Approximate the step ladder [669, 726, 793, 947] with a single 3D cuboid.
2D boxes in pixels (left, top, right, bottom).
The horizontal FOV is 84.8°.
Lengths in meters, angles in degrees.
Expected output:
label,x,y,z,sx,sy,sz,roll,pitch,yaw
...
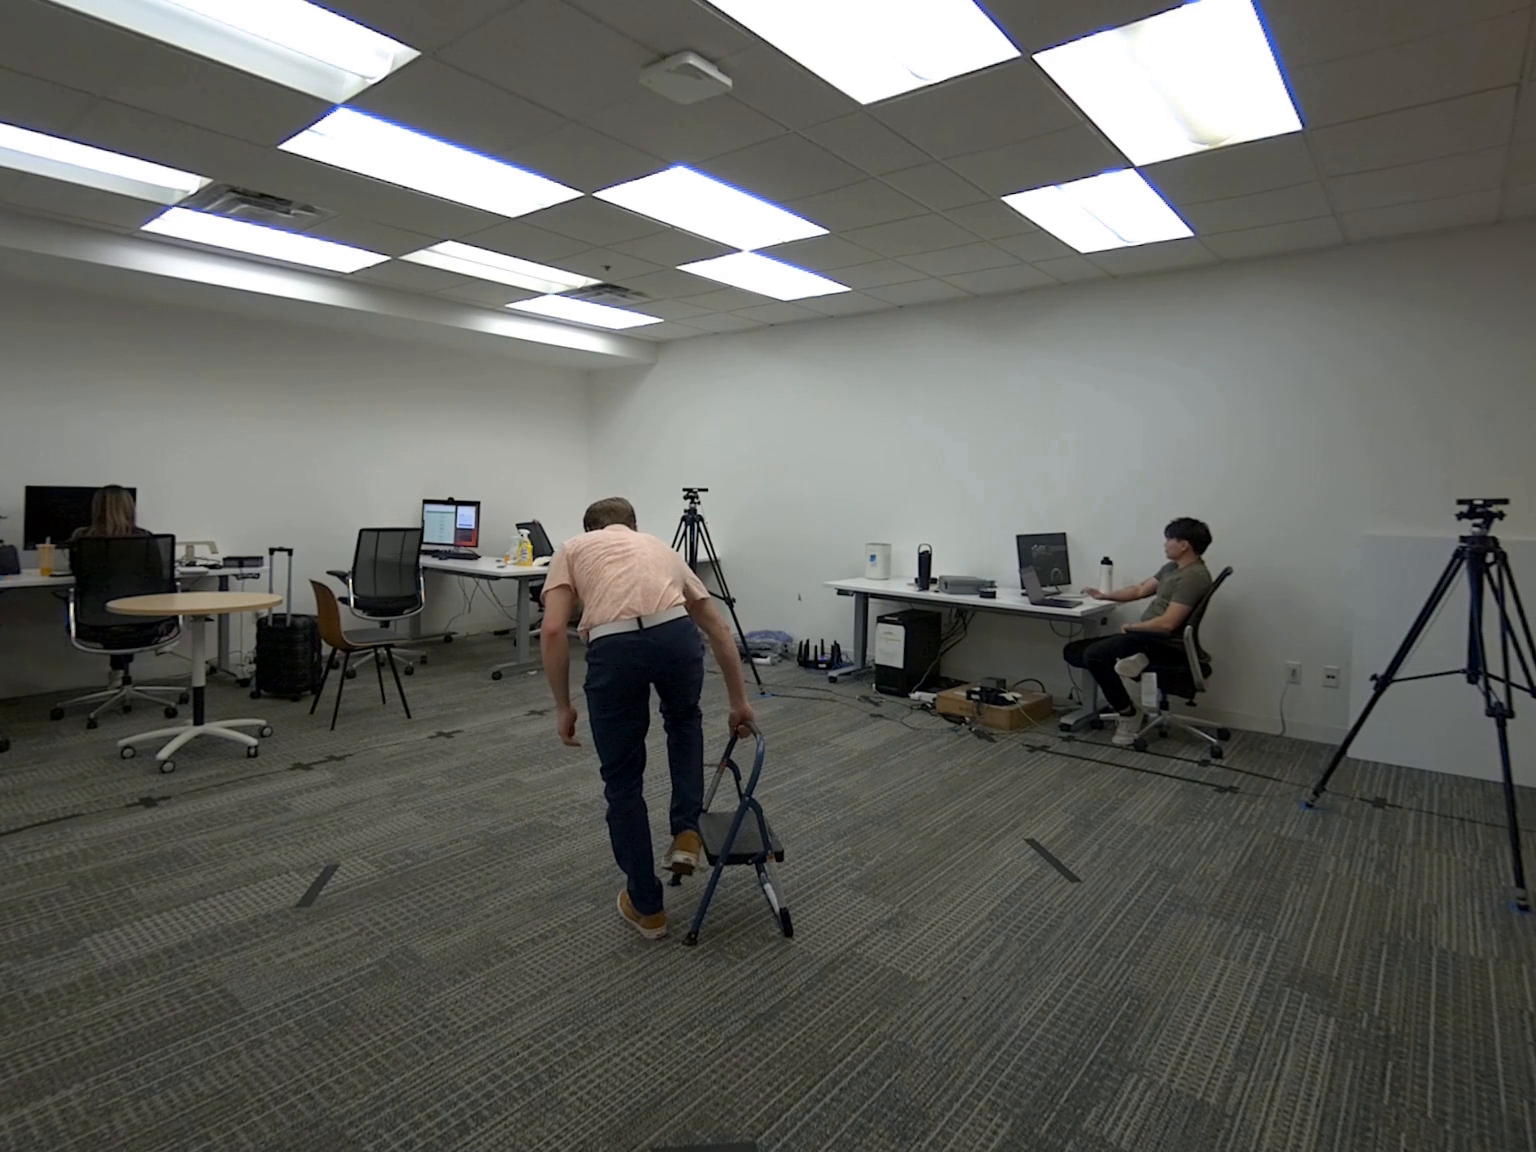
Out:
label,x,y,z,sx,sy,sz,roll,pitch,yaw
step ladder,-0.130,0.804,2.801,0.345,0.604,0.438,0,5,-13
